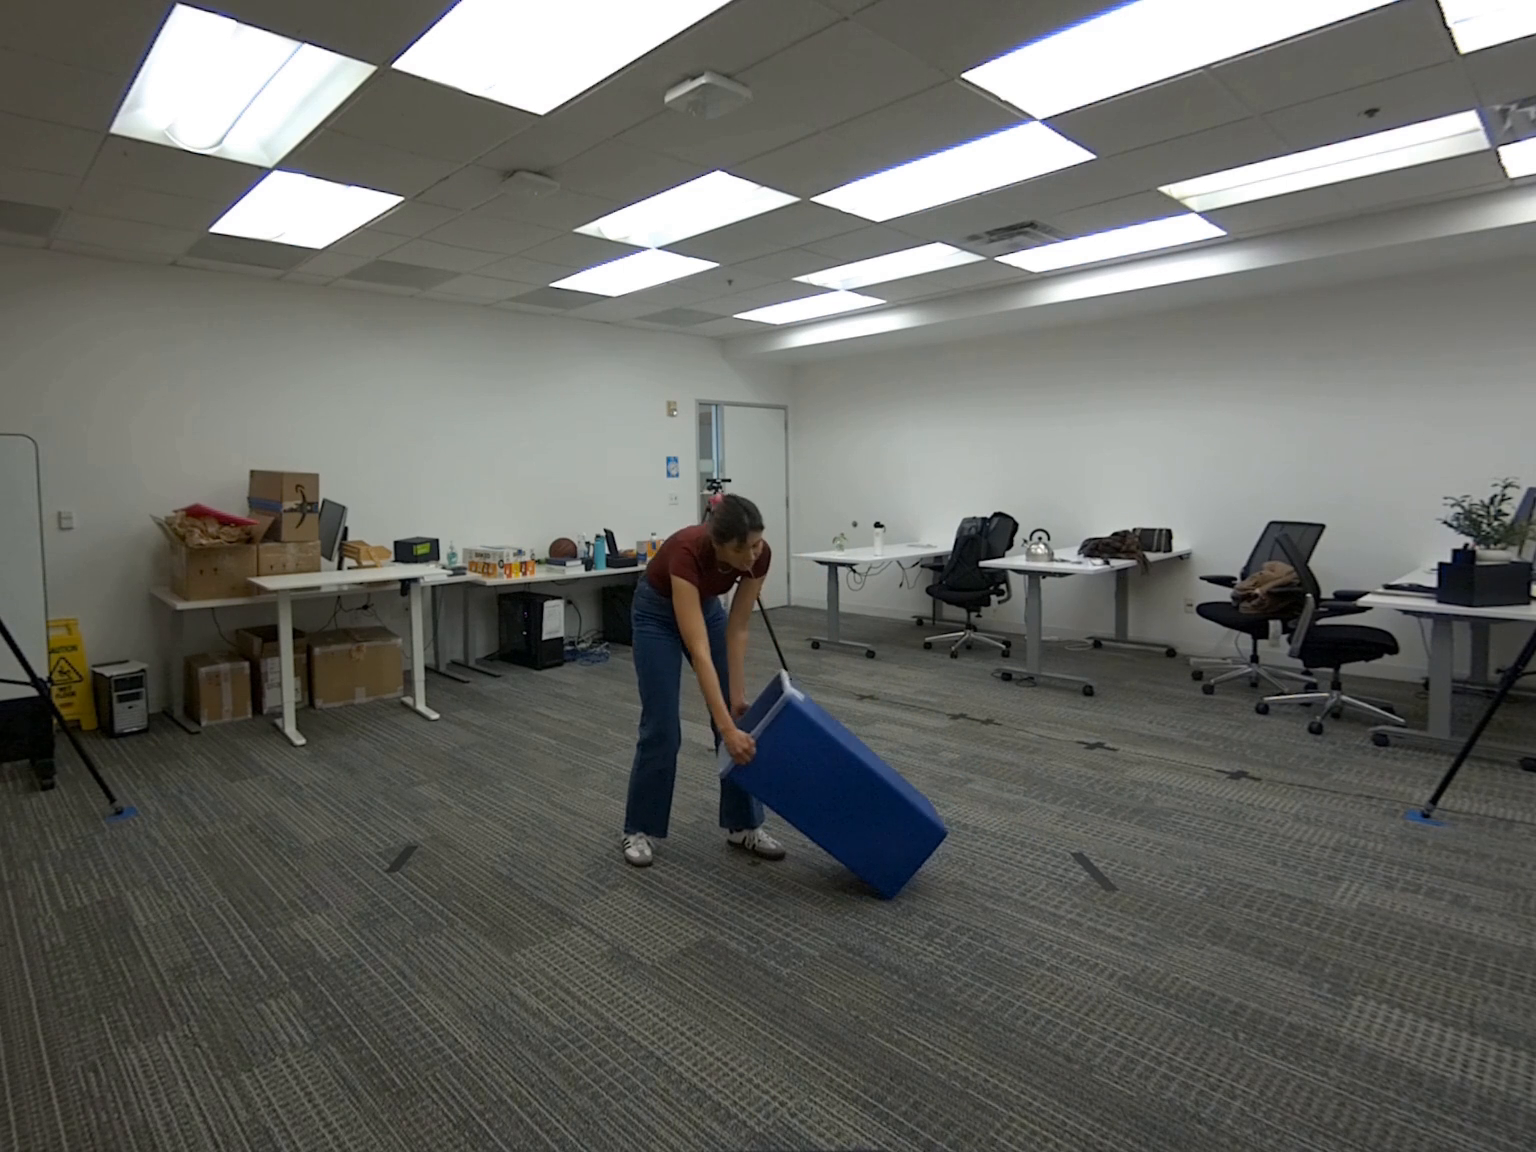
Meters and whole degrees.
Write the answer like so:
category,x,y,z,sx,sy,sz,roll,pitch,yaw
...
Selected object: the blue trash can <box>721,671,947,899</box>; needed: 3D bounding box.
category,x,y,z,sx,sy,sz,roll,pitch,yaw
blue trash can,0.213,0.718,2.928,0.713,0.374,0.378,40,4,-1
